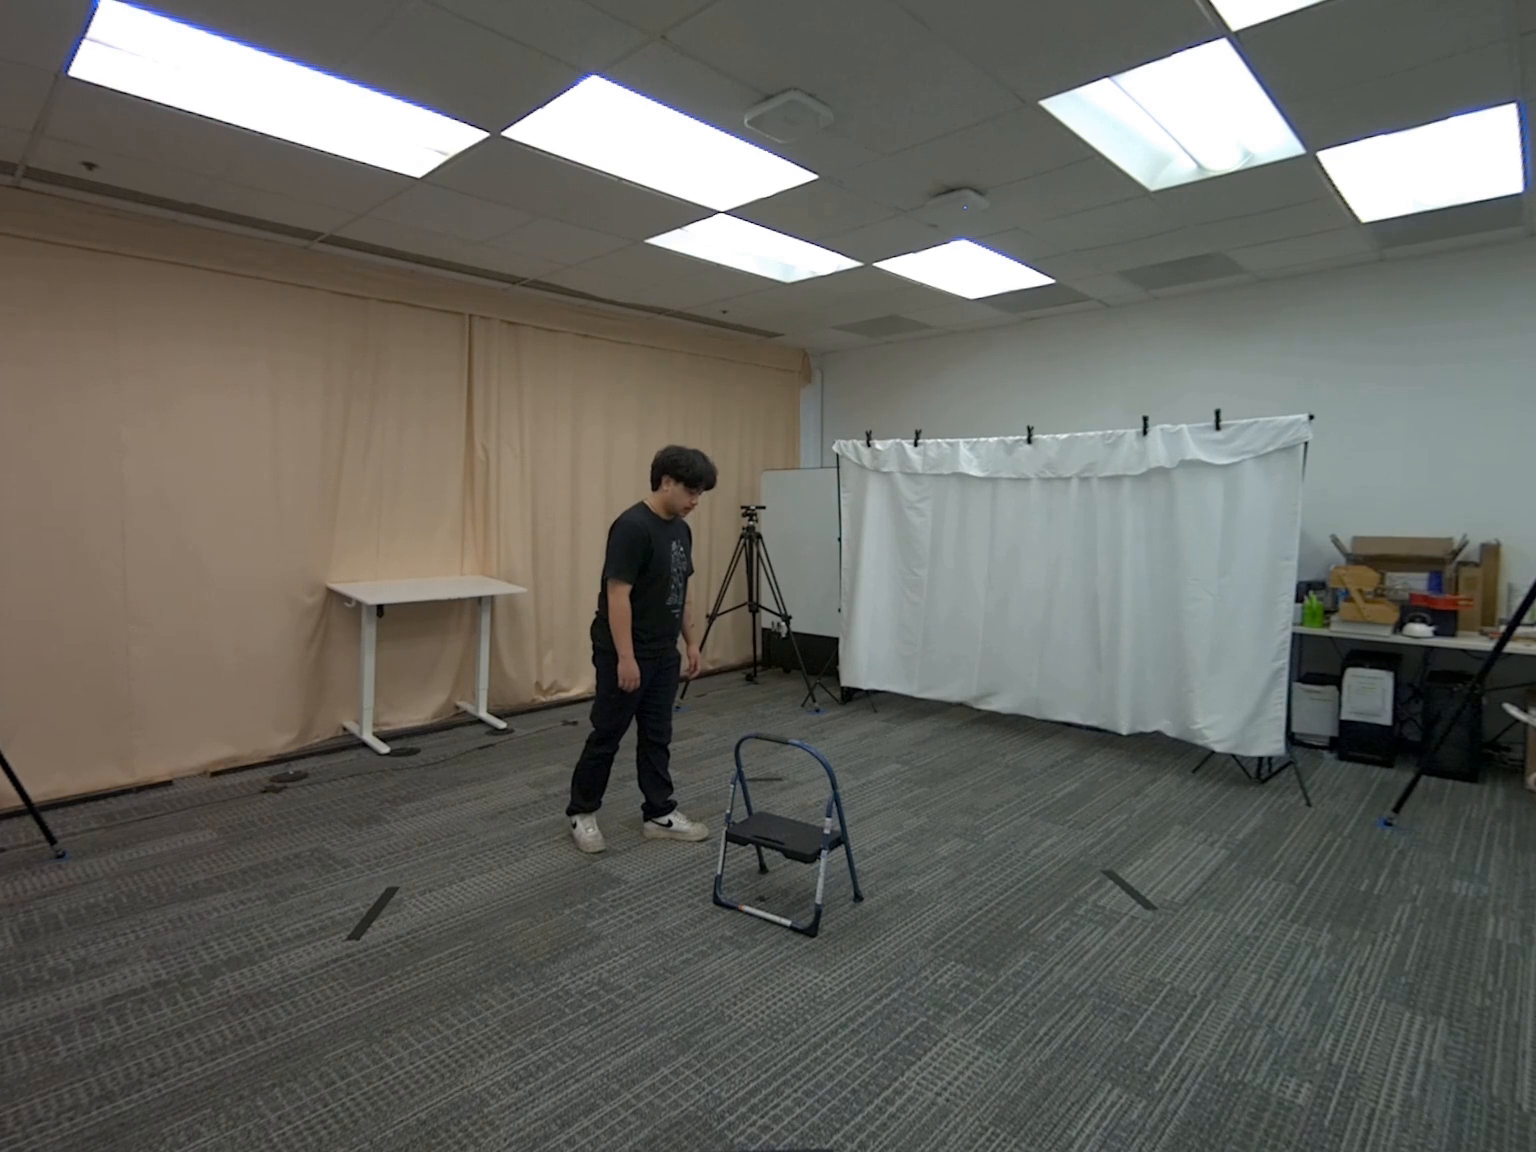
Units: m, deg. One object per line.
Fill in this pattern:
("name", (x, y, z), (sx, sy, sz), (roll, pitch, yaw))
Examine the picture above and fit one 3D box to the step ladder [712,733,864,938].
("step ladder", (0.072, 0.842, 2.949), (0.444, 0.605, 0.339), (2, 3, 34))
